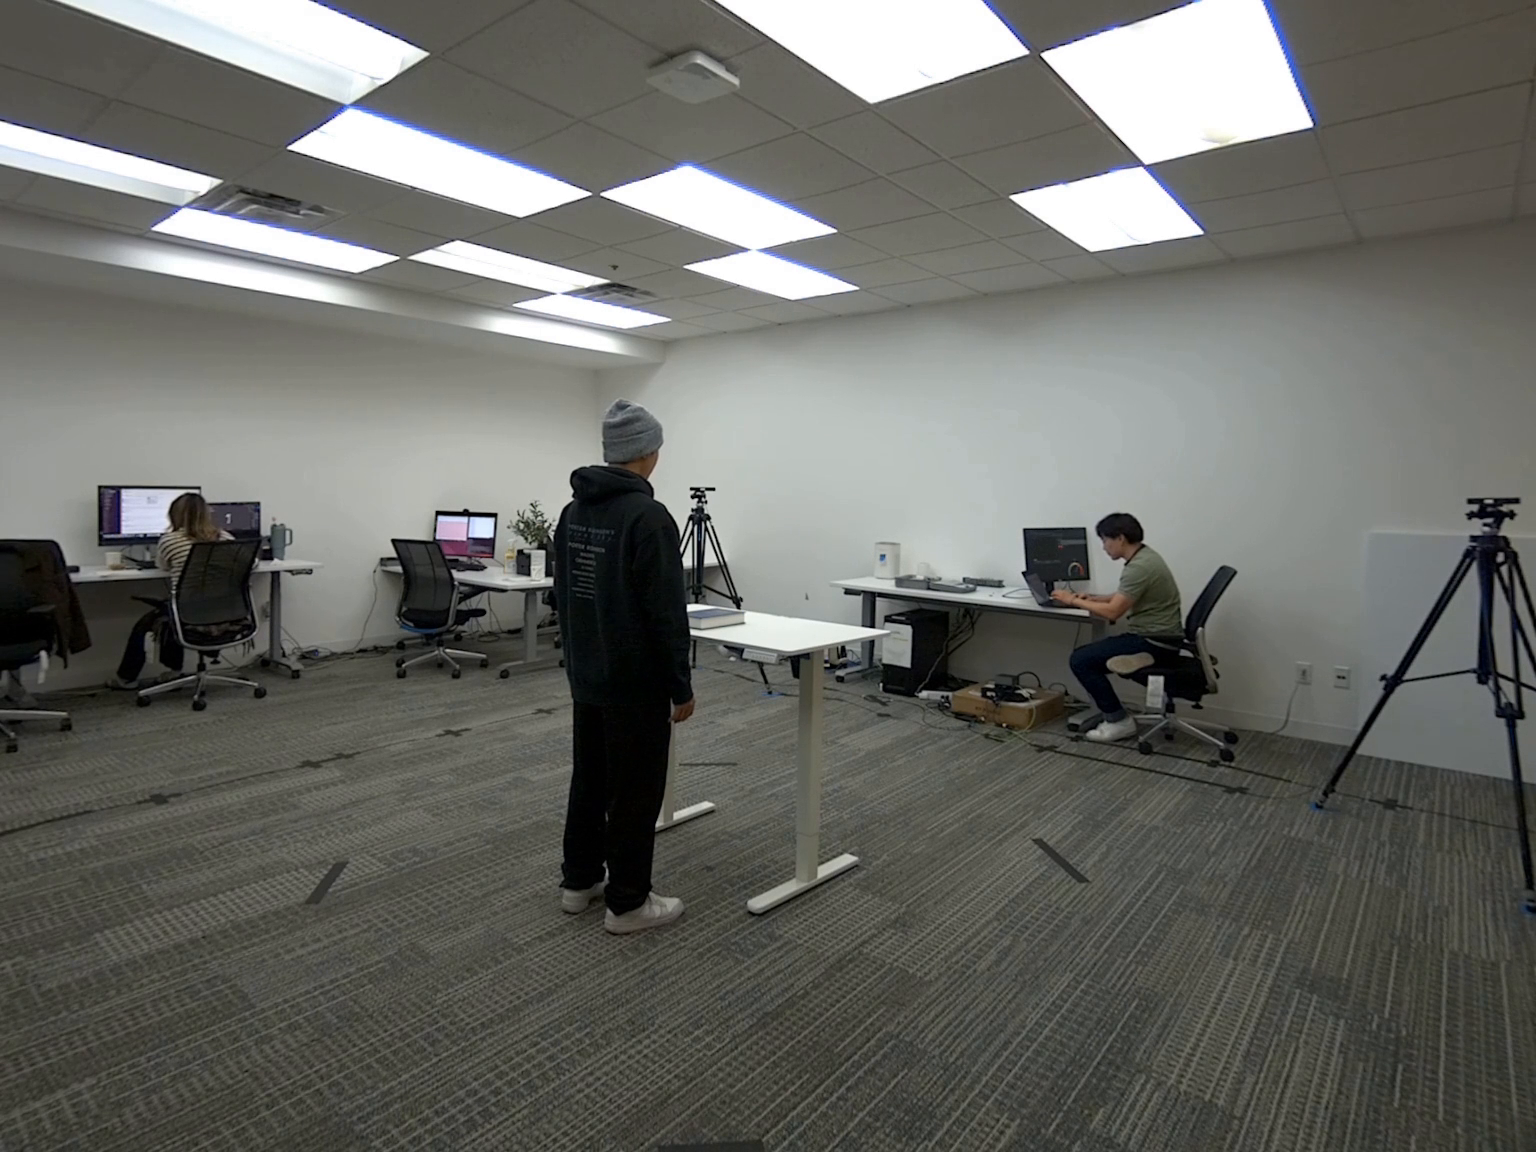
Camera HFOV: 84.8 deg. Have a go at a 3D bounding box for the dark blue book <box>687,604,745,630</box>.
[{"bbox_3d":[-0.228,0.158,3.178,0.169,0.045,0.238,5,7,41],"label":"dark blue book"}]
